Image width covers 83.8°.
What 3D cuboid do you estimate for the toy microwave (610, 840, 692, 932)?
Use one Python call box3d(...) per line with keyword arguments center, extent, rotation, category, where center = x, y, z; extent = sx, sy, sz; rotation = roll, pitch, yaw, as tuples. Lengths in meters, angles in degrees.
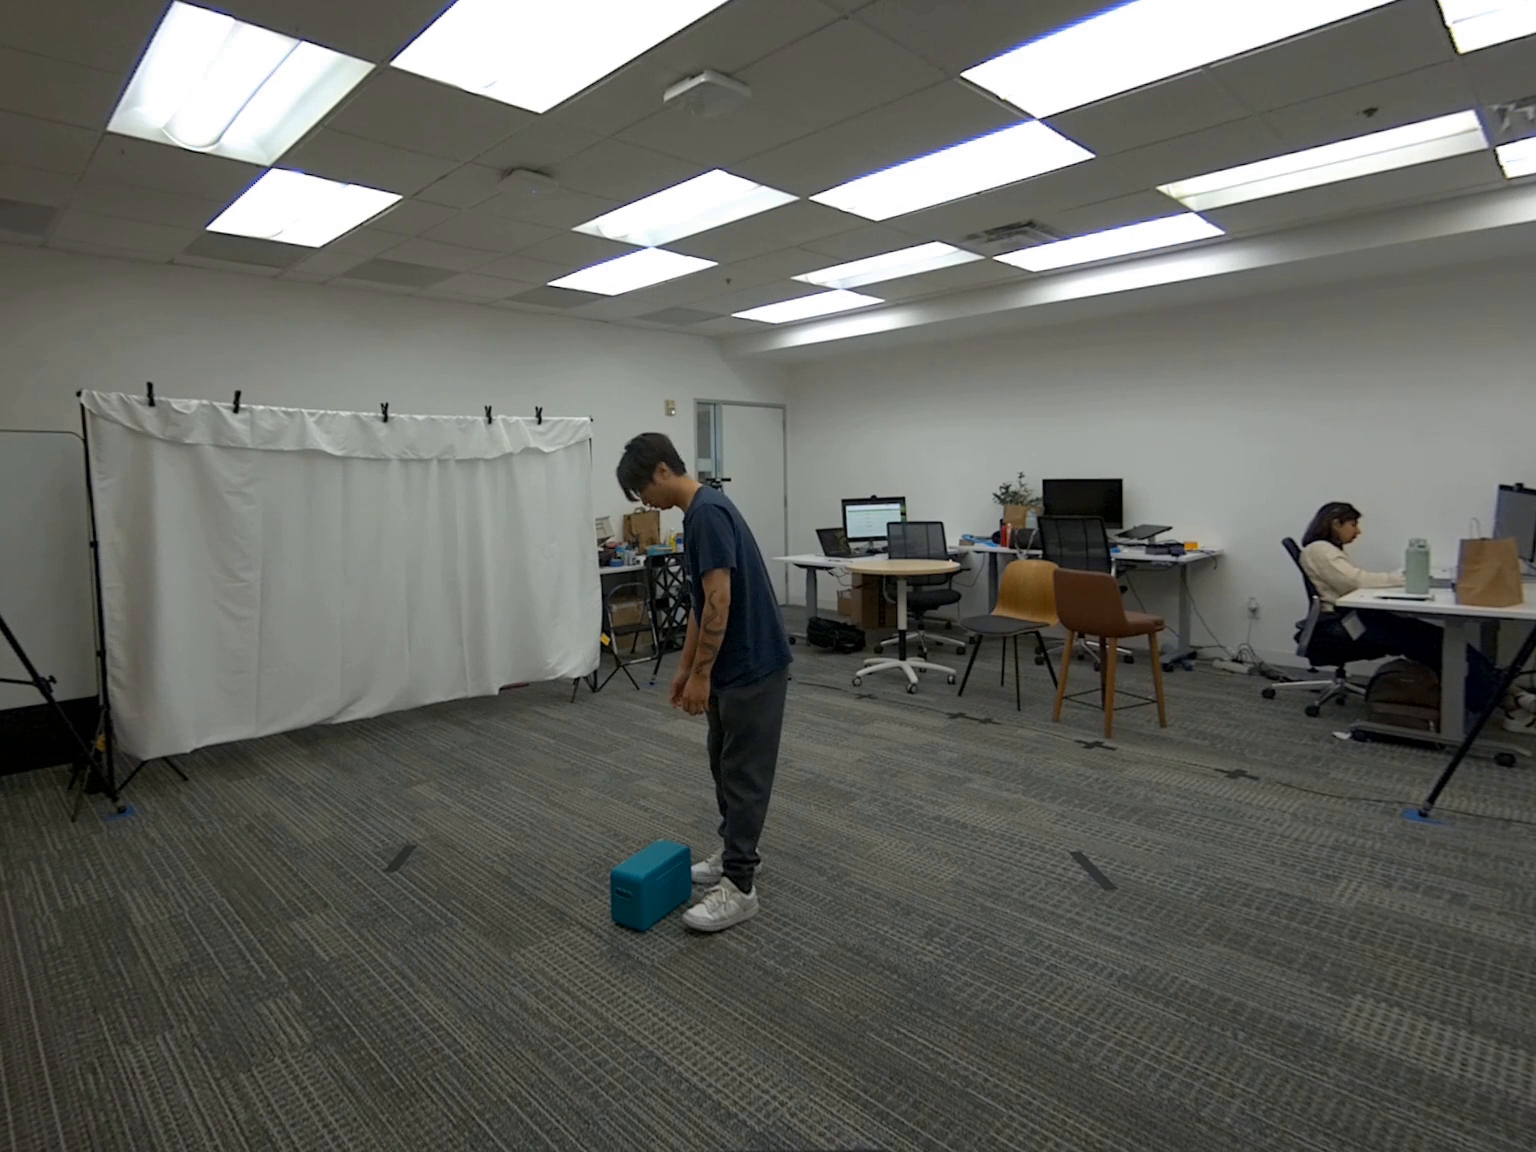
box3d(center=(-0.378, 0.997, 2.773), extent=(0.156, 0.183, 0.280), rotation=(2, 7, 30), category="toy microwave")
